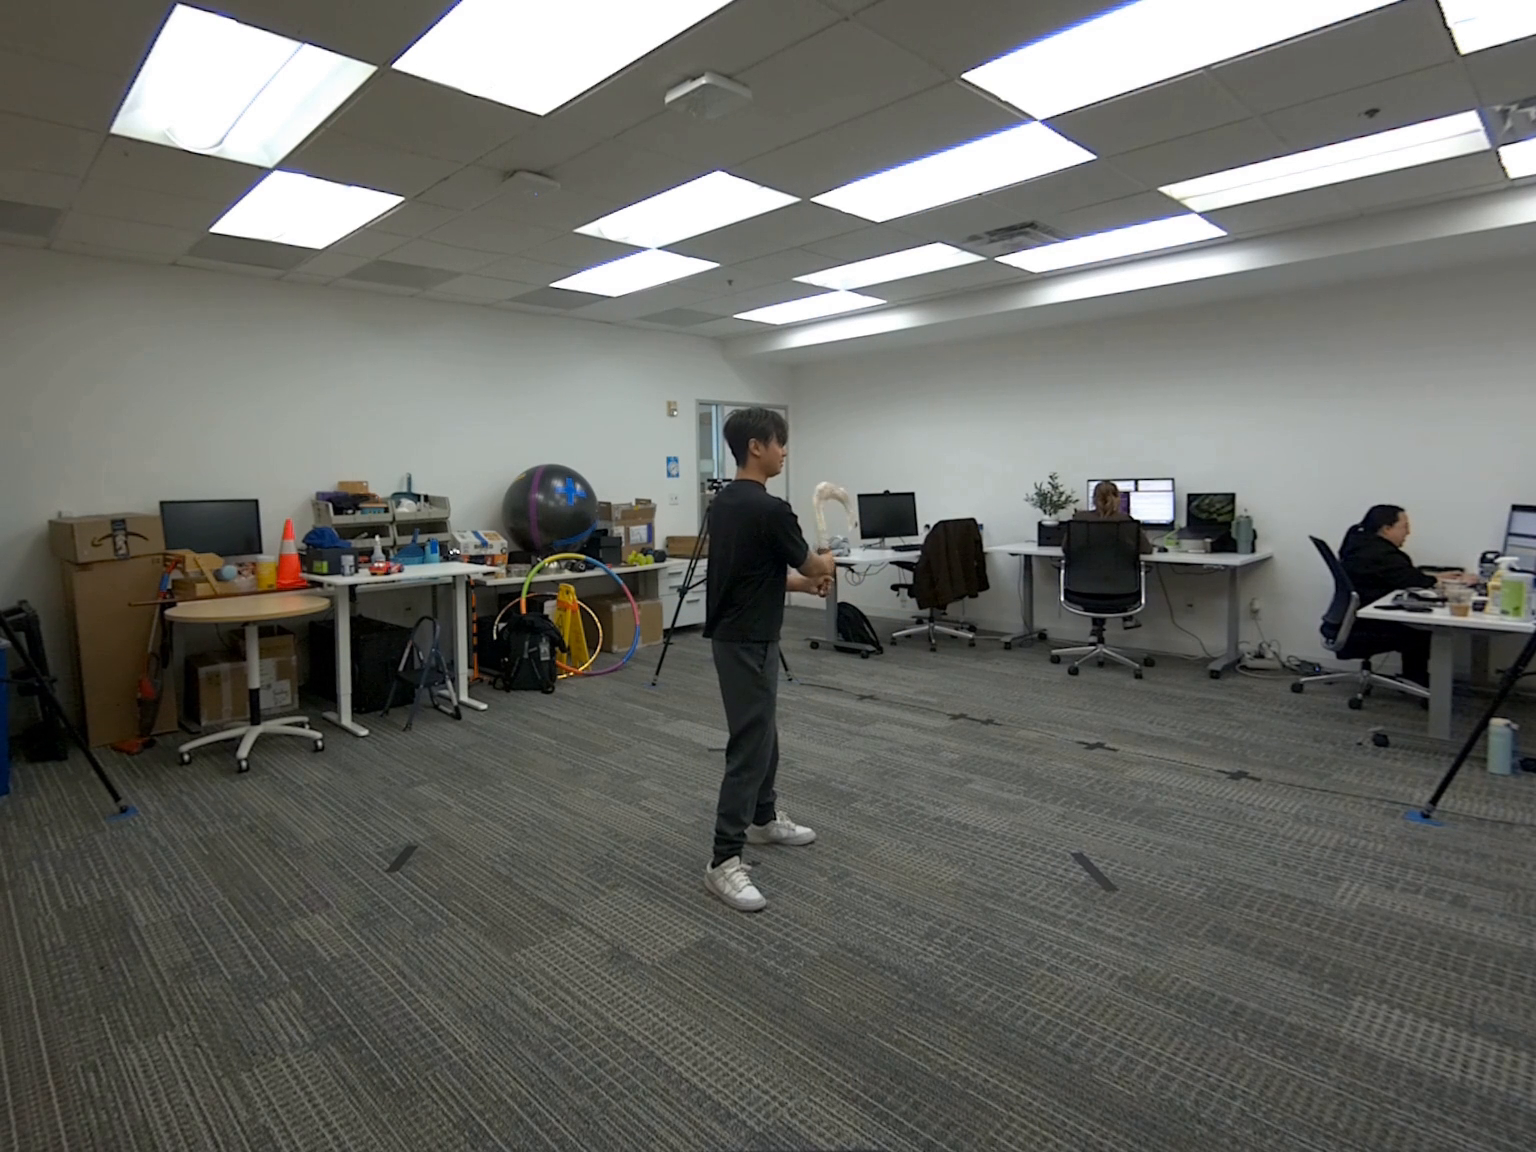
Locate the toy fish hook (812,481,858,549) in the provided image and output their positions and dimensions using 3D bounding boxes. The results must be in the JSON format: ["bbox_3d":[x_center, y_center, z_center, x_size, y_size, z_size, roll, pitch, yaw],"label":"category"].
[{"bbox_3d":[0.271,-0.118,3.414,0.218,0.515,0.049,17,-25,-27],"label":"toy fish hook"}]
